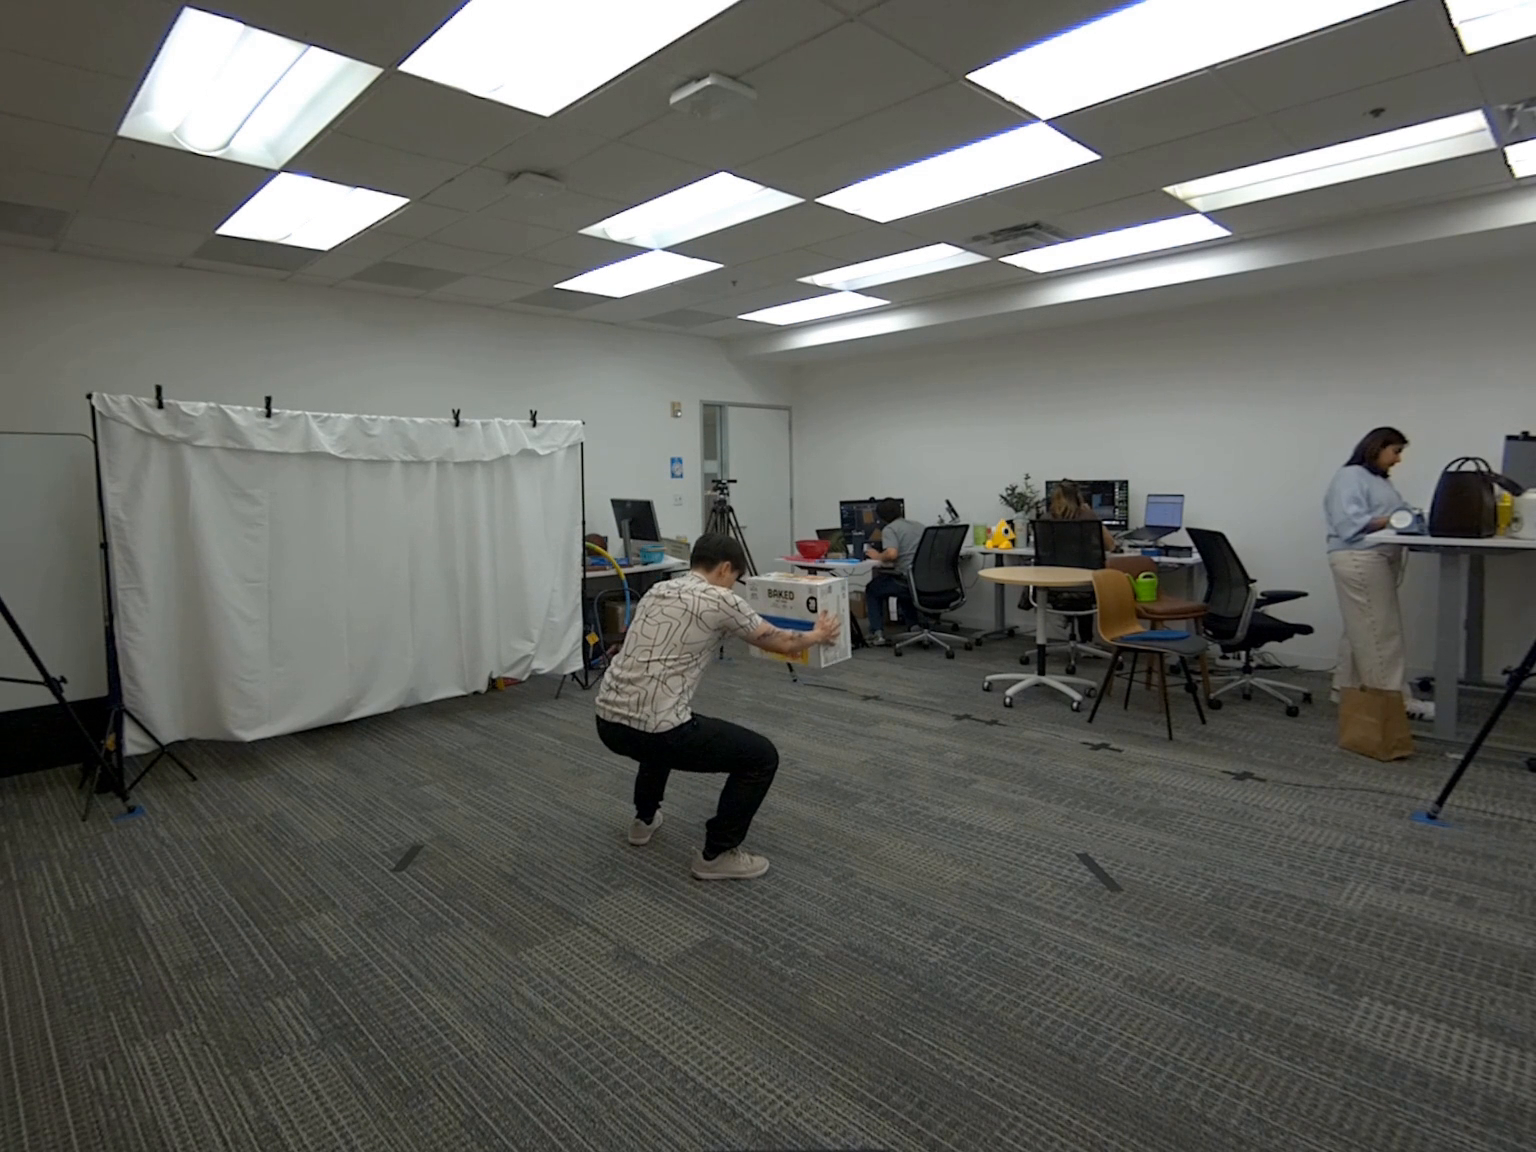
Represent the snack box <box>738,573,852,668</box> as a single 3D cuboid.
[{"bbox_3d":[0.128,0.173,3.619,0.418,0.338,0.201,4,10,45],"label":"snack box"}]
